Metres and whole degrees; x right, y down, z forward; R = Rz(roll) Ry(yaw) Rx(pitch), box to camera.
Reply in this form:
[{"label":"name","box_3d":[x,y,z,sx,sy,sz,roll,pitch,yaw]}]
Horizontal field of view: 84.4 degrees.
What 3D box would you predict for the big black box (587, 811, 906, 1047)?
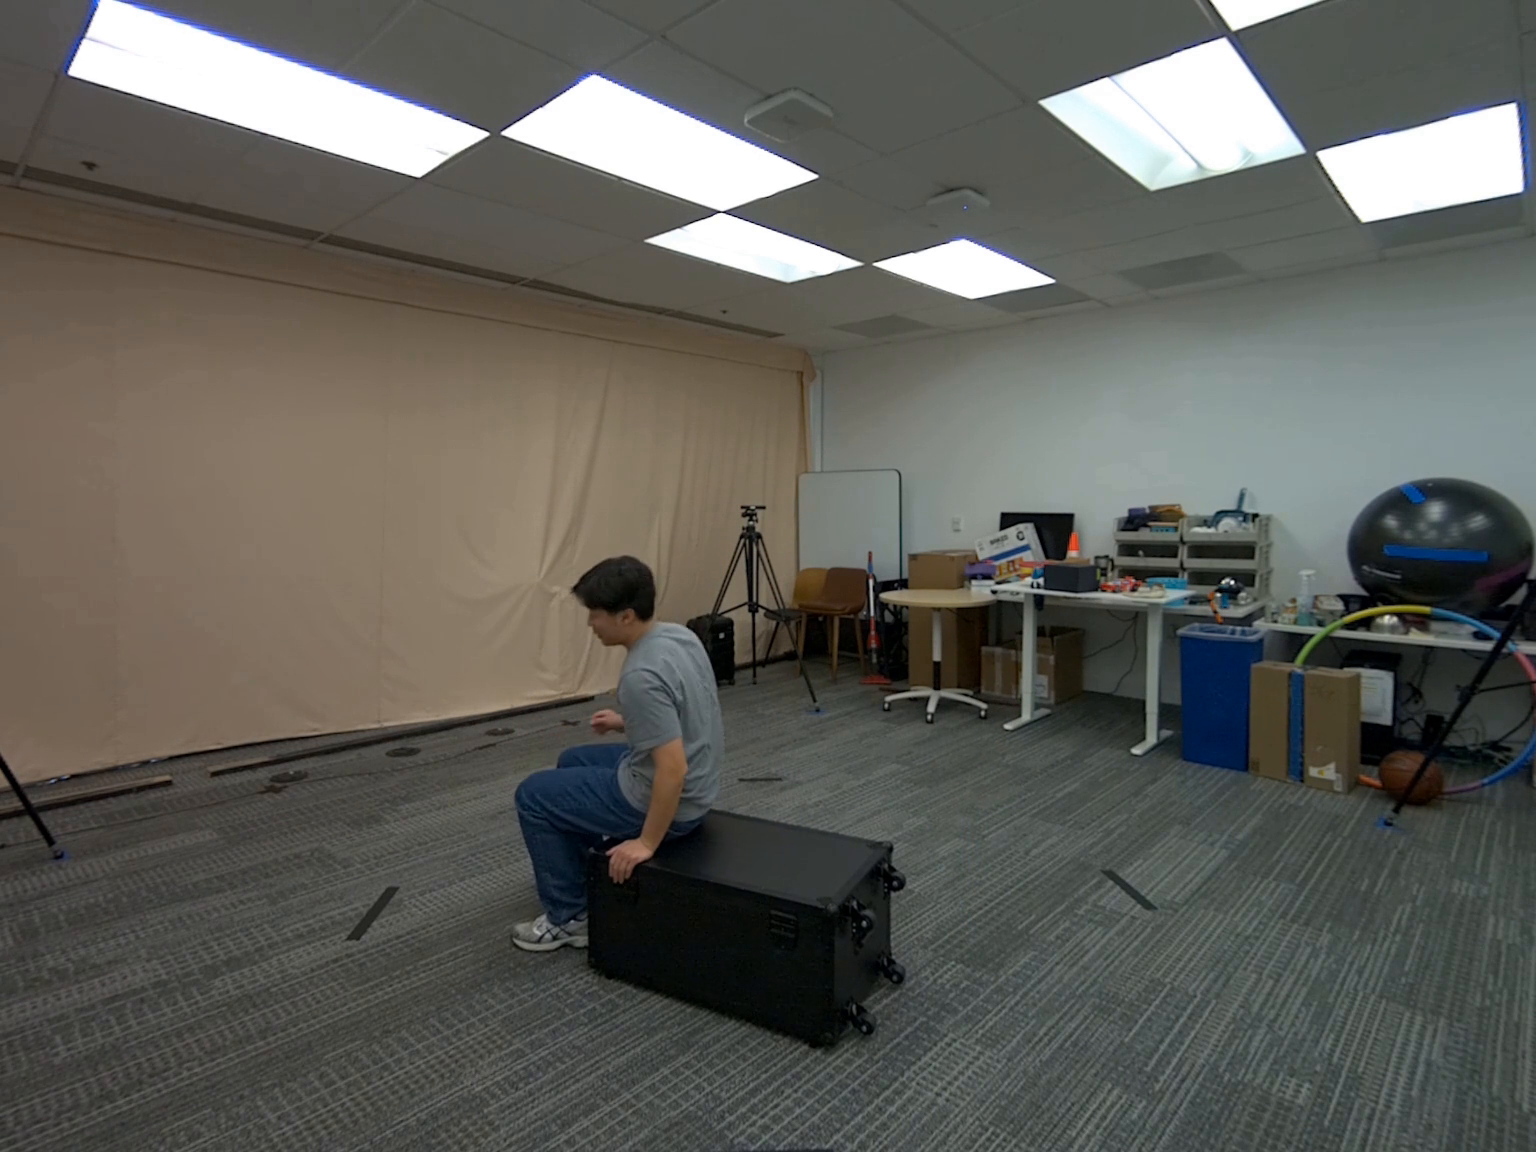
[{"label":"big black box","box_3d":[-0.049,0.999,2.495,0.885,0.395,0.508,2,4,28]}]
